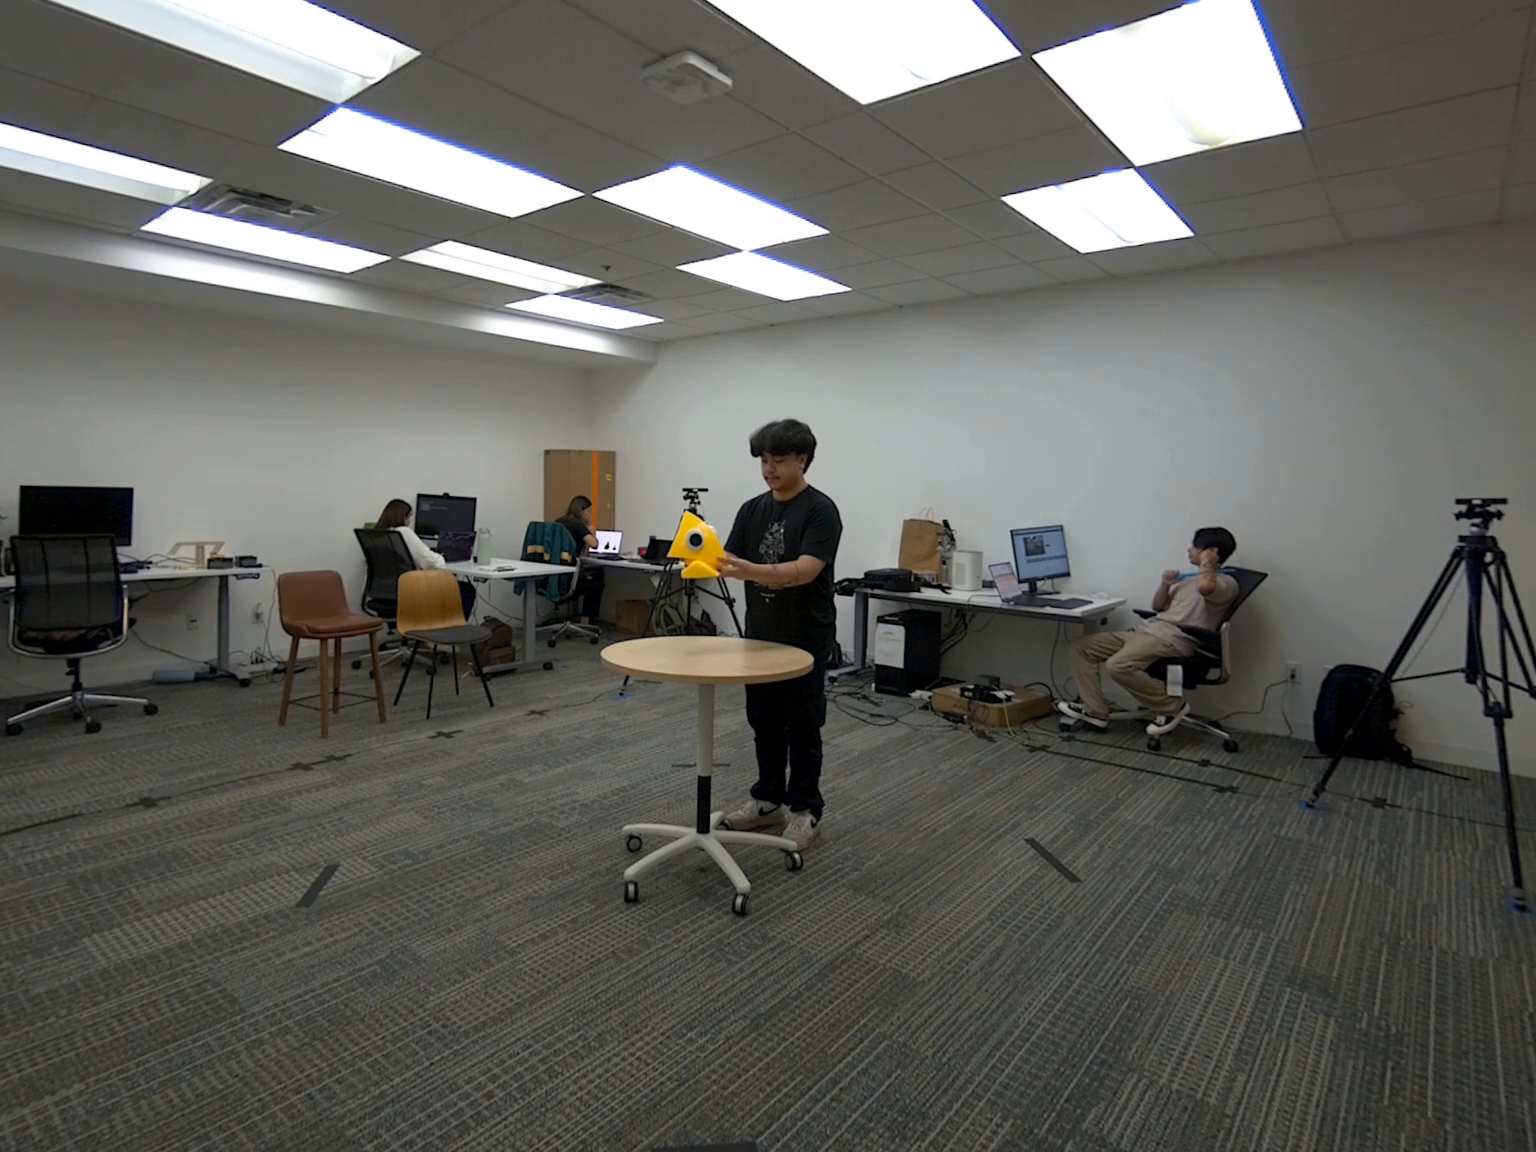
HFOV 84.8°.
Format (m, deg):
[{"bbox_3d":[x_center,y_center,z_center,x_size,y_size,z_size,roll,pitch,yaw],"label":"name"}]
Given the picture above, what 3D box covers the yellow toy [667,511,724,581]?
[{"bbox_3d":[-0.247,-0.120,3.041,0.198,0.230,0.200,-2,6,31],"label":"yellow toy"}]
